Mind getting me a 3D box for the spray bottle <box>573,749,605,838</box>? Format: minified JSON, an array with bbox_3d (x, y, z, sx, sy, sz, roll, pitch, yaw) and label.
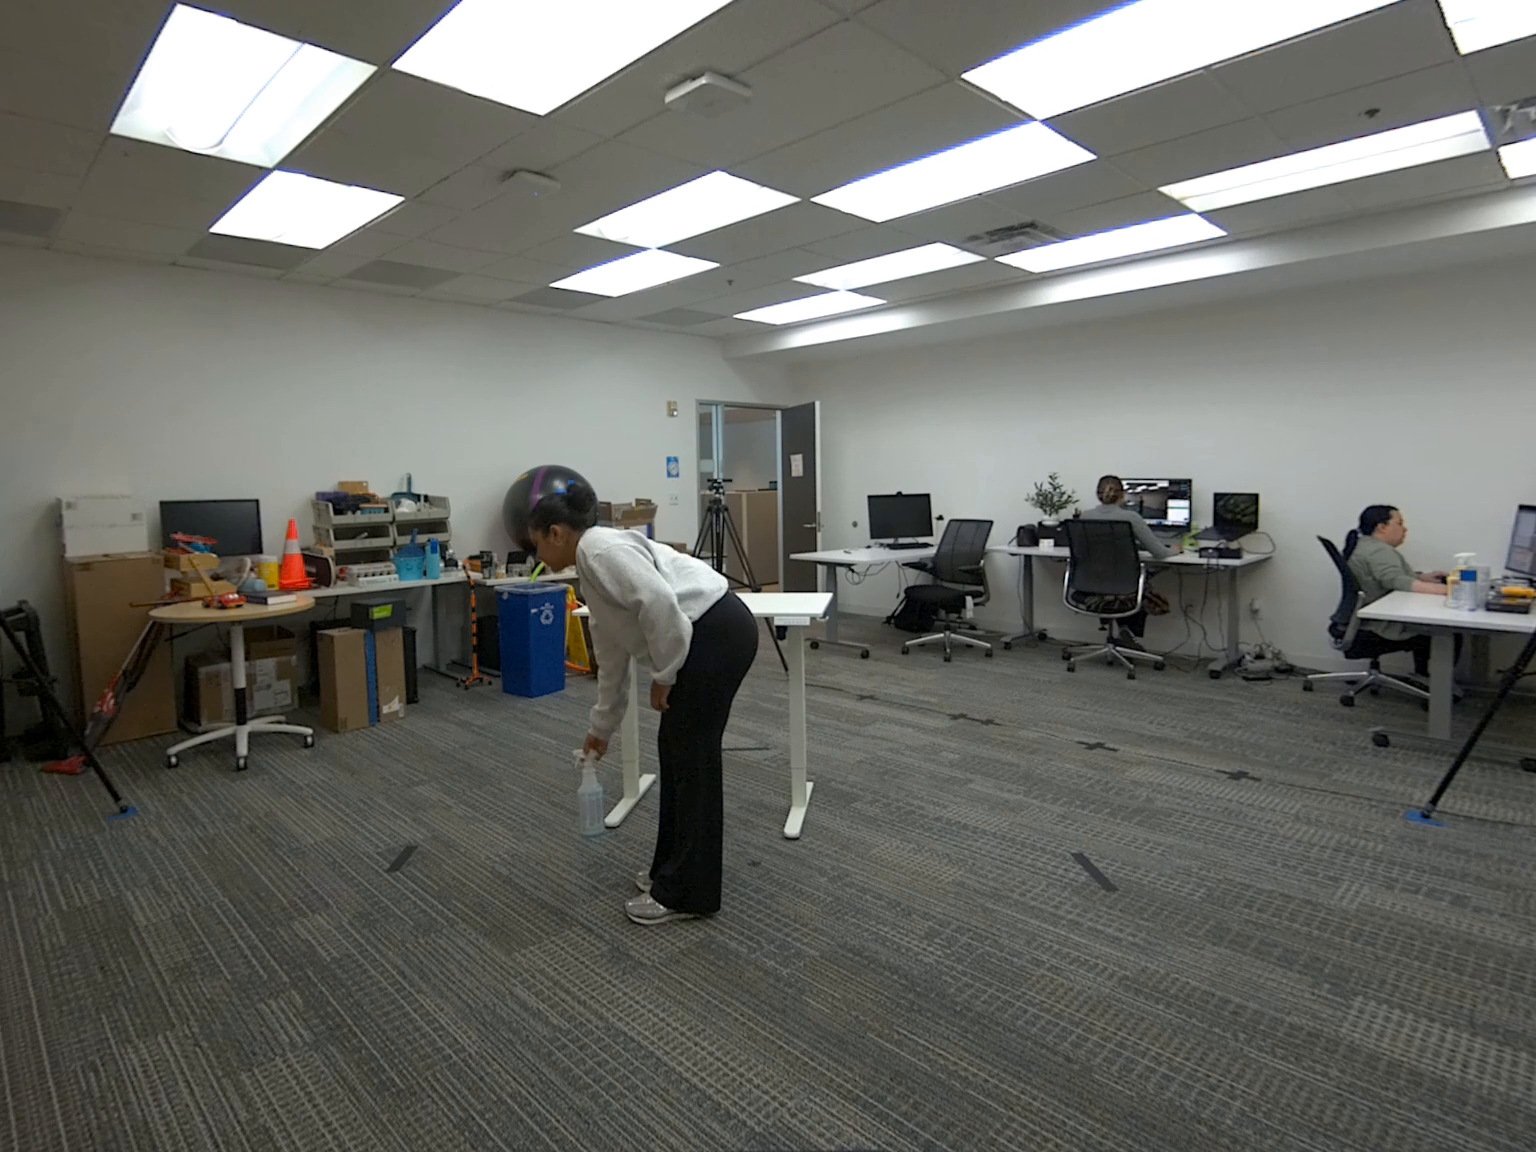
[{"bbox_3d":[-0.616,0.741,2.956,0.090,0.297,0.087,-7,-1,2],"label":"spray bottle"}]
